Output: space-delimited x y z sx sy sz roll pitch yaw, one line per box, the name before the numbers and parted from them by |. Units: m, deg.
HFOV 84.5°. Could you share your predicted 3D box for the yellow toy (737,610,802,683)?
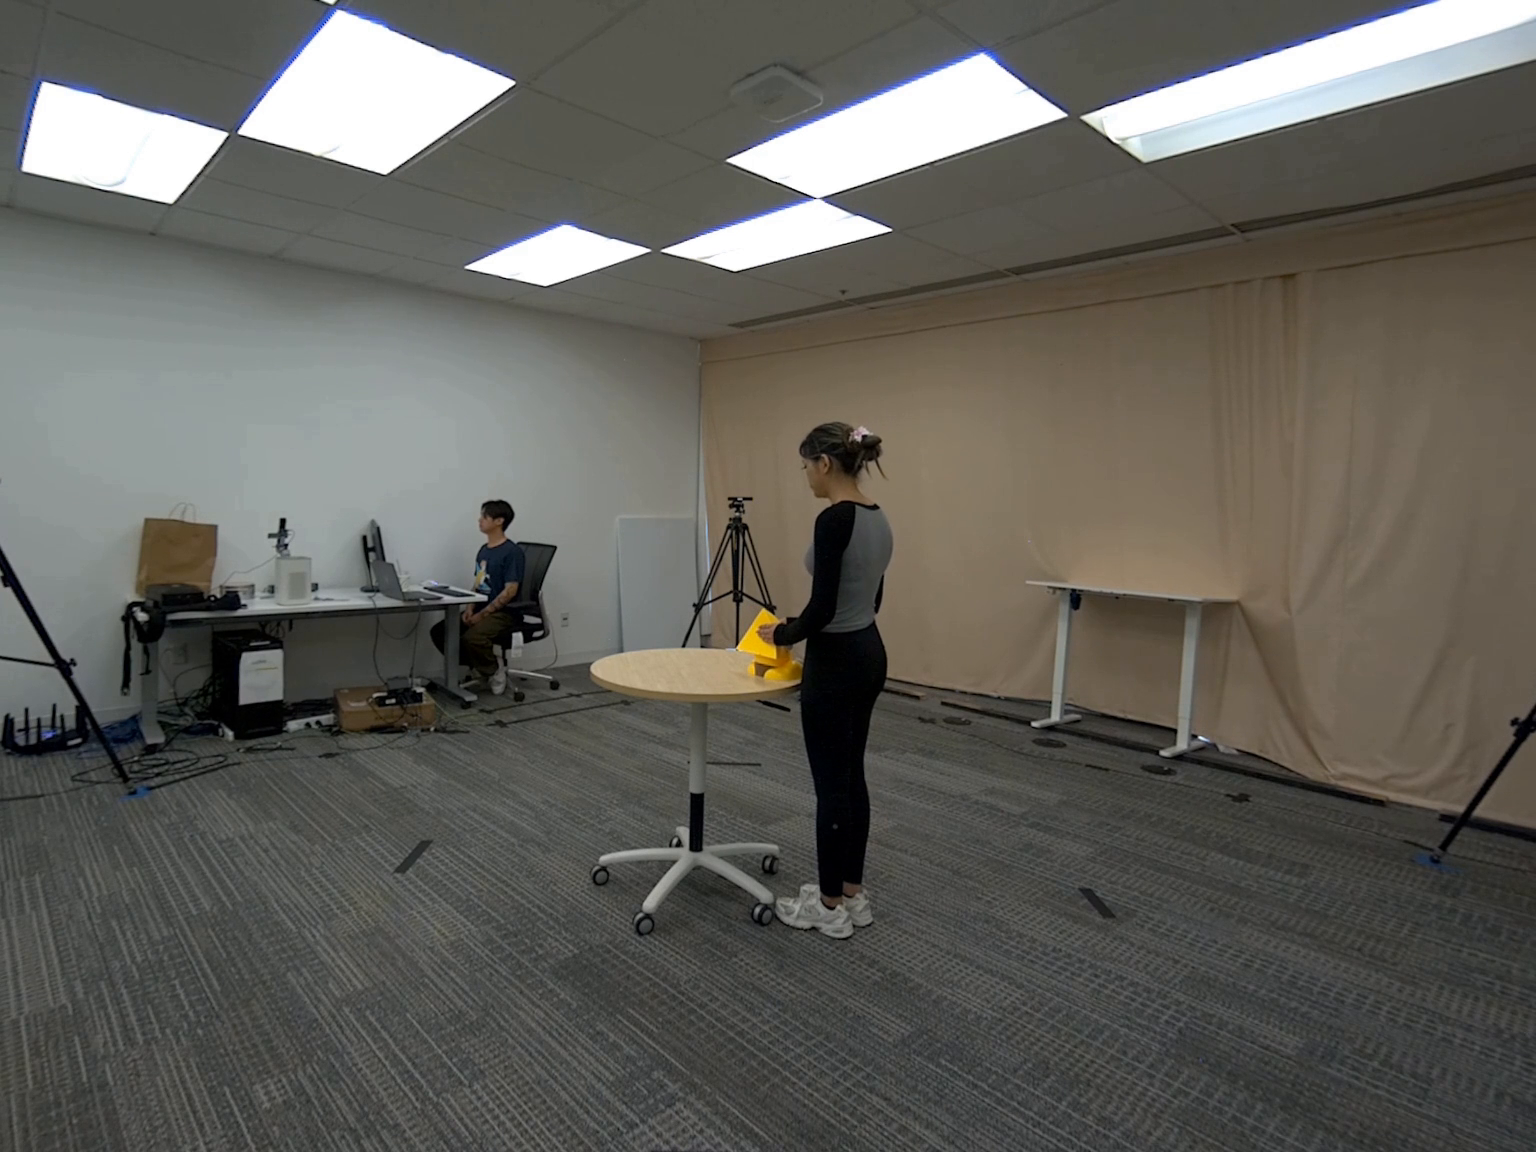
yellow toy | 0.021 0.229 2.893 0.188 0.230 0.210 -1 5 -40
